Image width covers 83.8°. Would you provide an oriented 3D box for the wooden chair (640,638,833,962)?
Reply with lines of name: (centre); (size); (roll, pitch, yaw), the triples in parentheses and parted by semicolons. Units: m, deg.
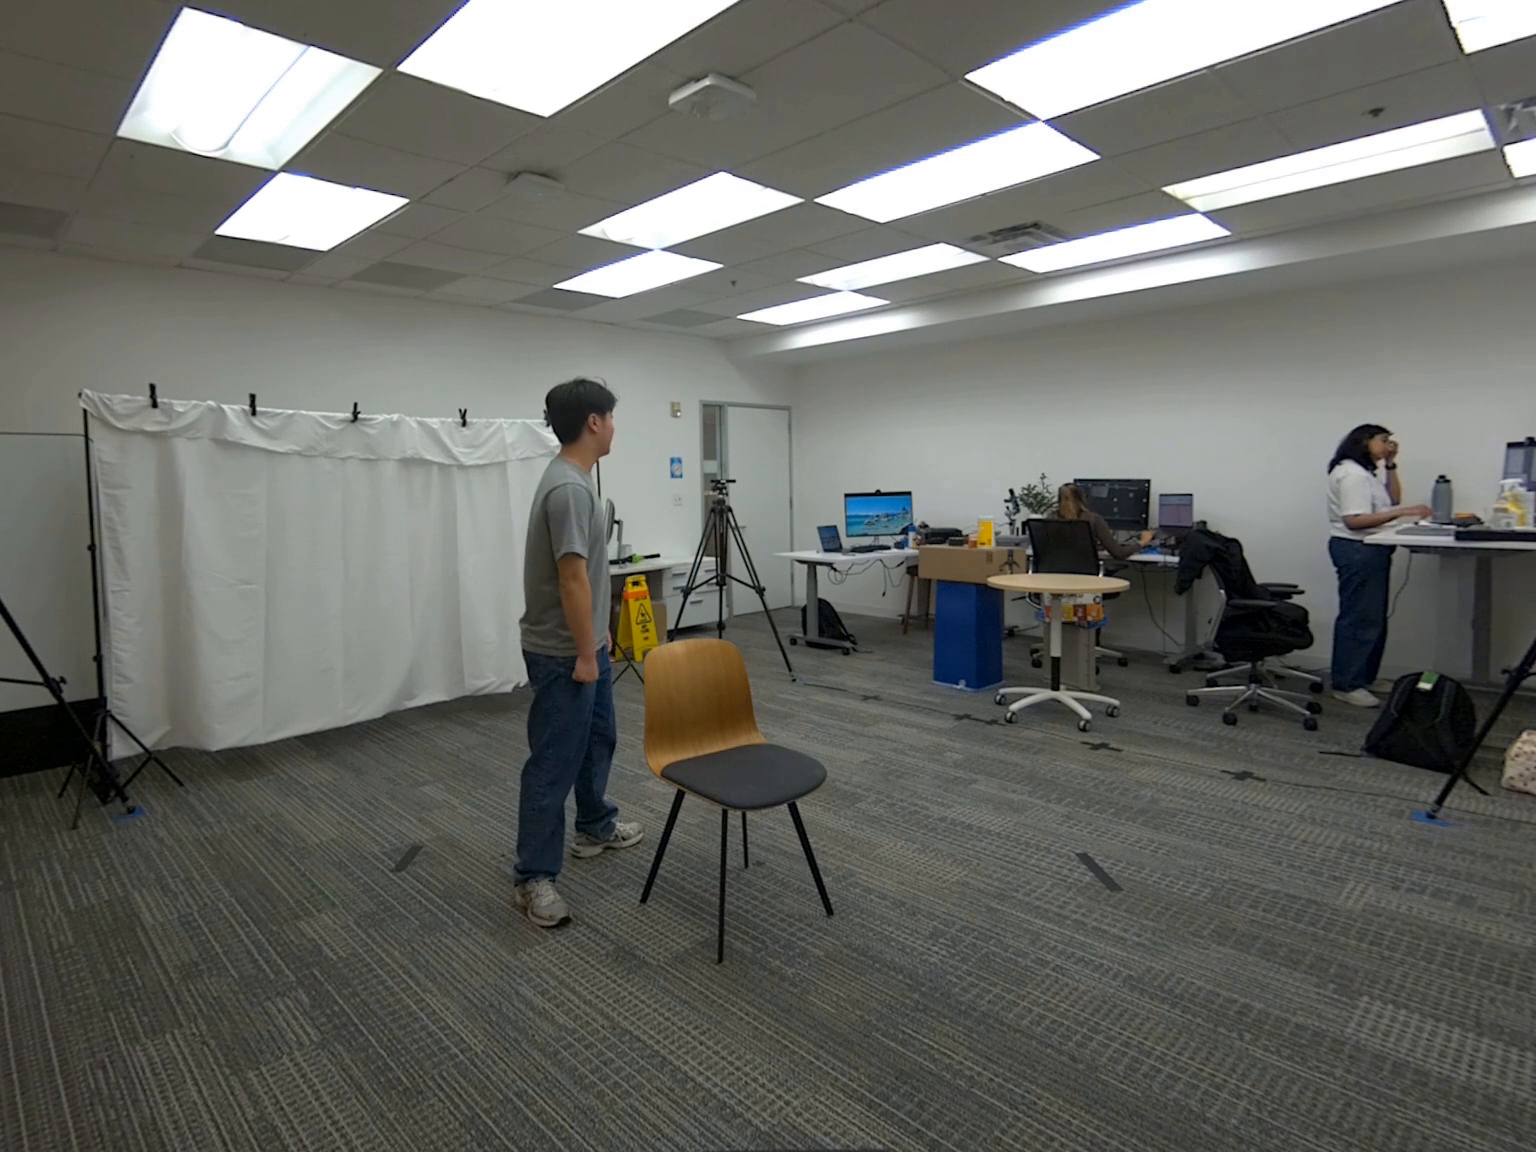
wooden chair: (-0.107, 0.662, 2.744); (0.466, 0.877, 0.537); (-4, 1, -37)
